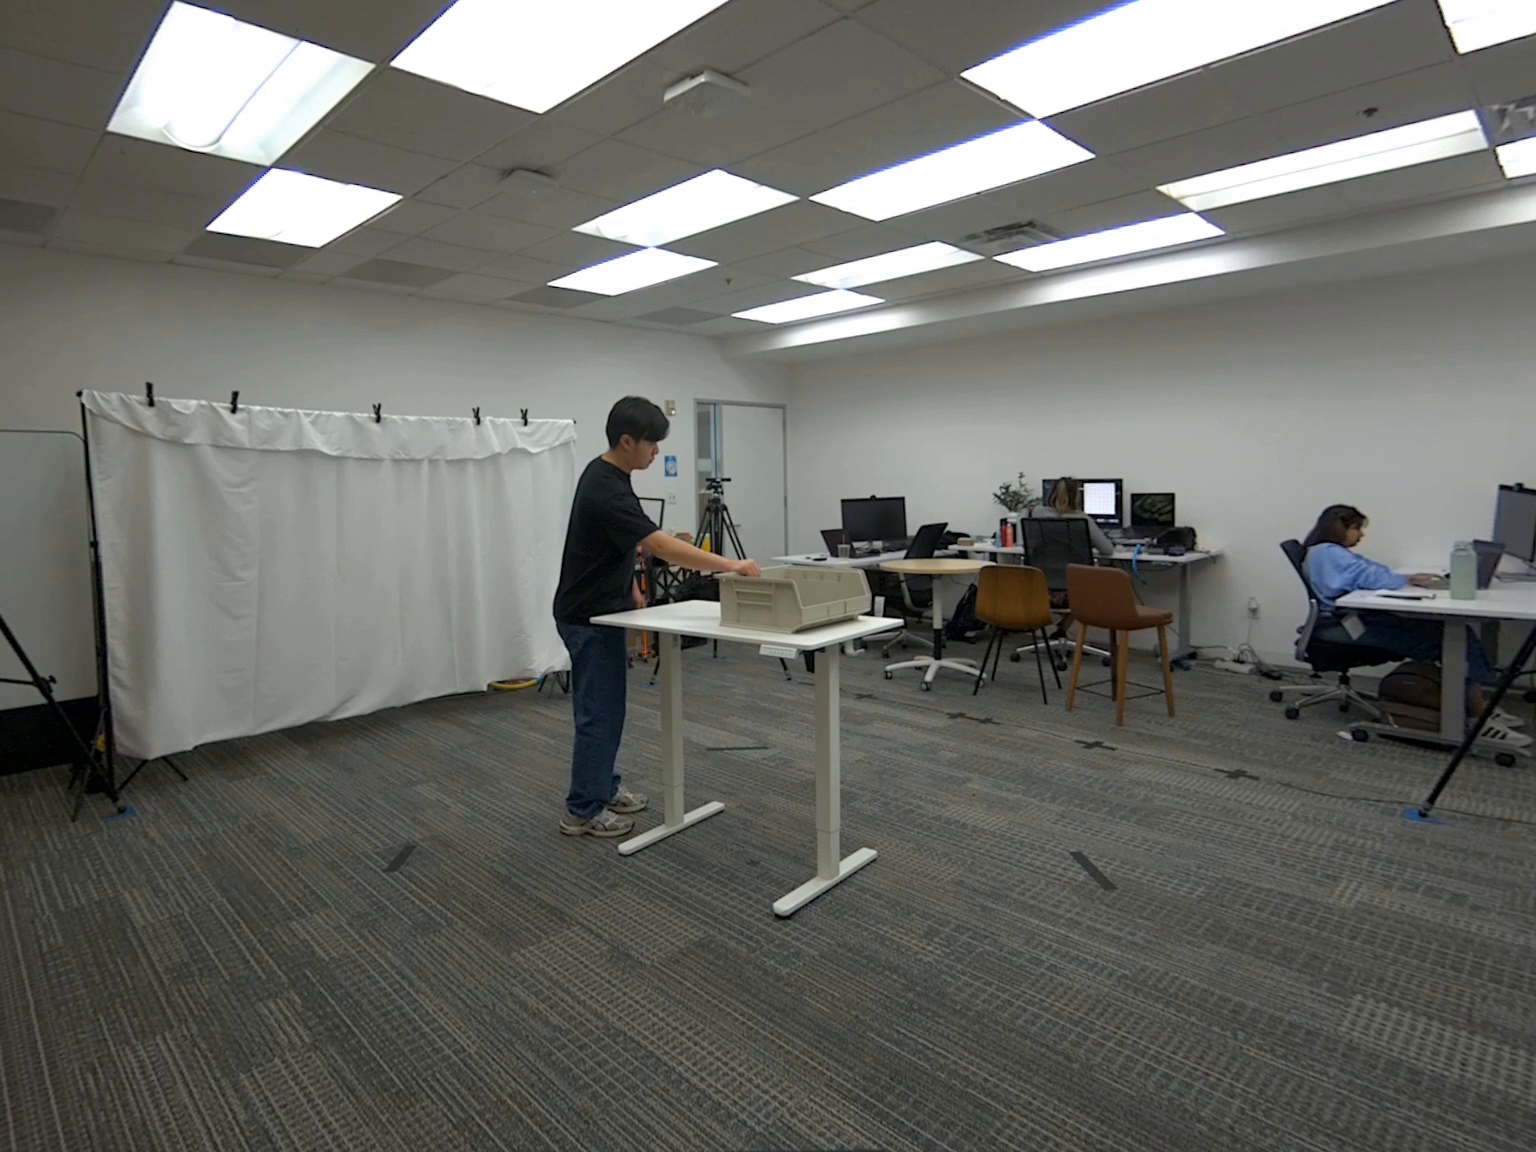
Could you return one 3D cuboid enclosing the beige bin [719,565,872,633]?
[{"bbox_3d":[0.096,0.080,3.005,0.388,0.188,0.412,2,7,40],"label":"beige bin"}]
